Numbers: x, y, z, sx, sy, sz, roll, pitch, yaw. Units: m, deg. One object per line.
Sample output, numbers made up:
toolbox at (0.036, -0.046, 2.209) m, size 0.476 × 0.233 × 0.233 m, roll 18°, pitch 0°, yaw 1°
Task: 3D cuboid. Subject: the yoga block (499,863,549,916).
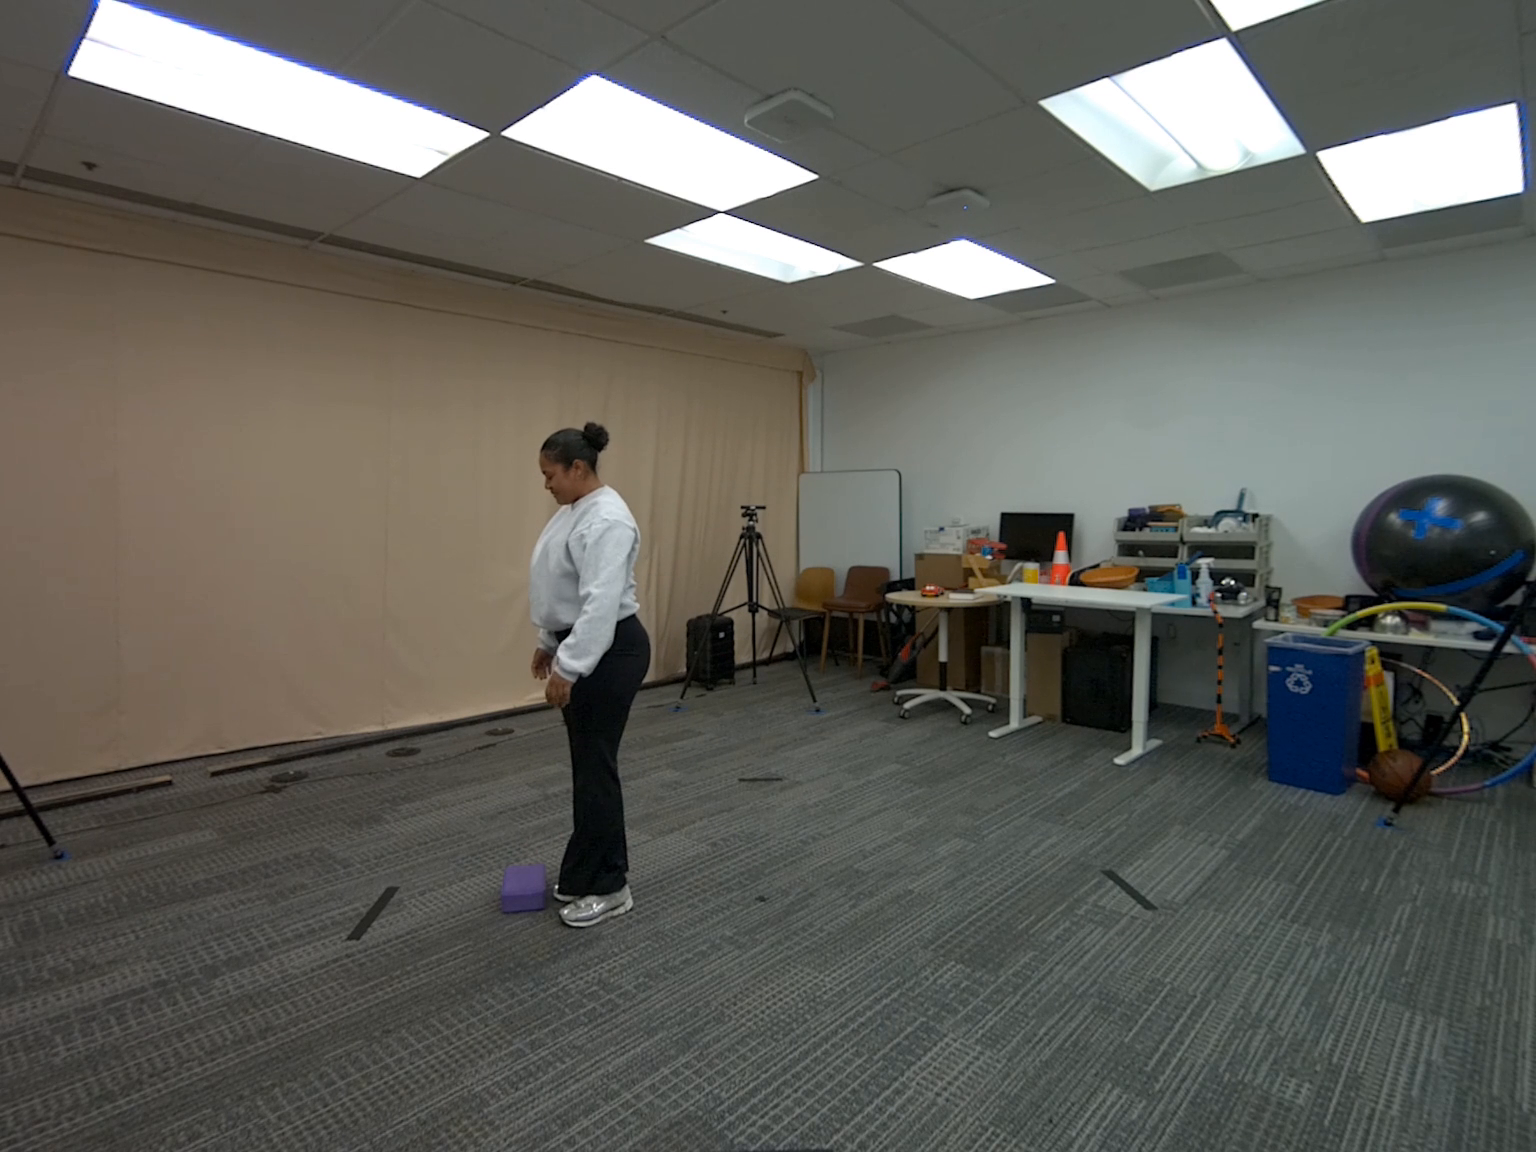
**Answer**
yoga block at (-0.869, 1.116, 3.005) m, size 0.147 × 0.076 × 0.233 m, roll -1°, pitch 5°, yaw -13°
